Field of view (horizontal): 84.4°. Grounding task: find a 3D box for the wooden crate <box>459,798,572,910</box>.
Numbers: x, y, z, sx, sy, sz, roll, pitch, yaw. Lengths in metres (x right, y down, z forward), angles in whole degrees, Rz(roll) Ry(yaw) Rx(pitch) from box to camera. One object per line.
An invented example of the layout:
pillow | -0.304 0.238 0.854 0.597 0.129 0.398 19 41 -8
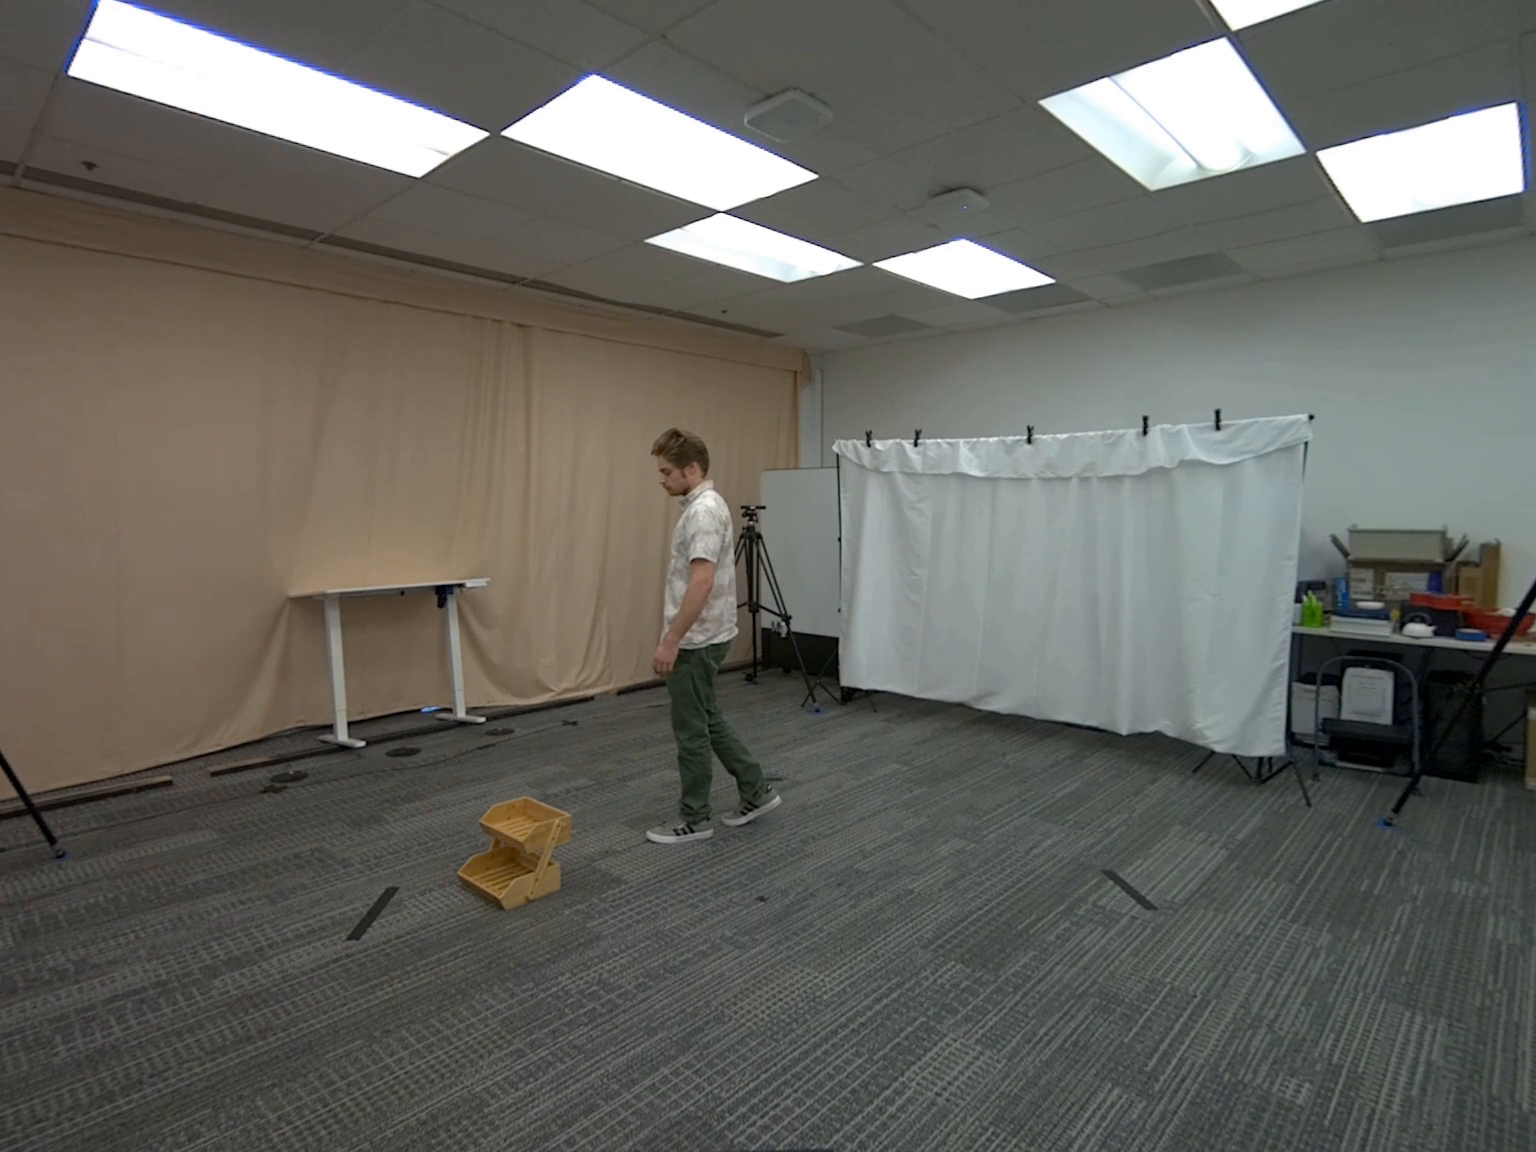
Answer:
wooden crate | -0.939 1.009 3.106 0.335 0.273 0.293 3 4 43
